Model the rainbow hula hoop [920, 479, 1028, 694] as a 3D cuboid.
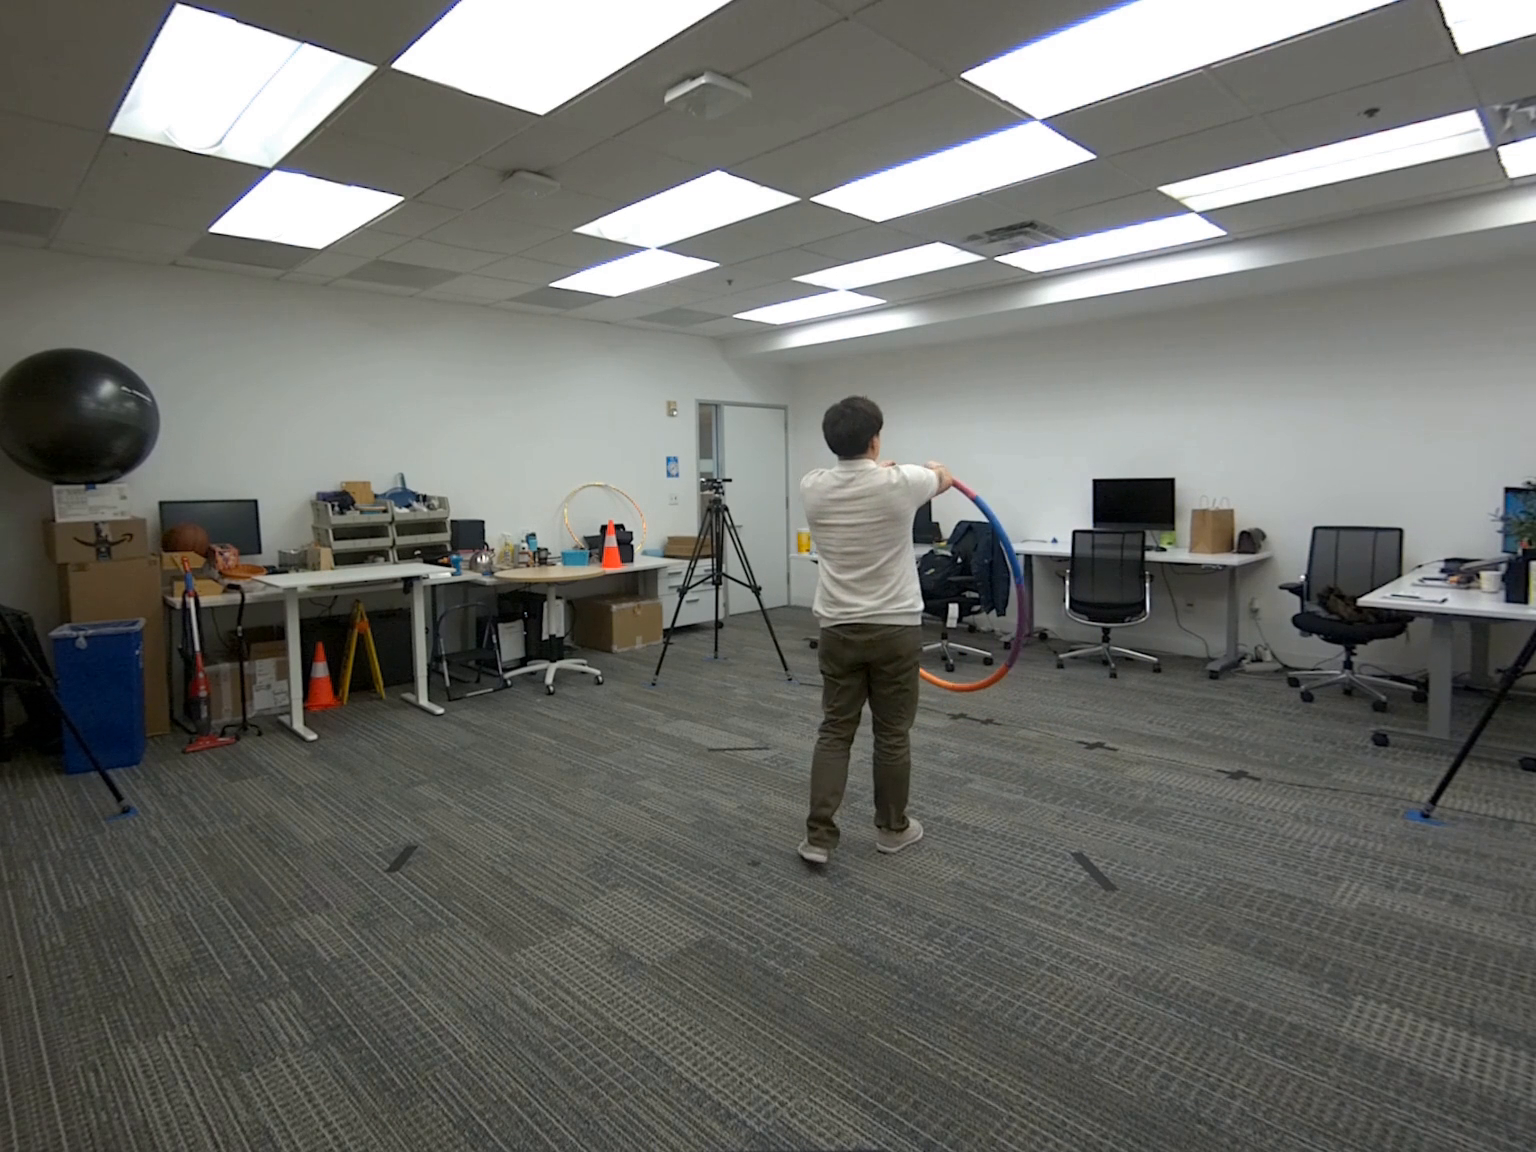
[{"bbox_3d":[0.707,0.018,3.684,0.035,0.969,1.006,-15,12,-31],"label":"rainbow hula hoop"}]
